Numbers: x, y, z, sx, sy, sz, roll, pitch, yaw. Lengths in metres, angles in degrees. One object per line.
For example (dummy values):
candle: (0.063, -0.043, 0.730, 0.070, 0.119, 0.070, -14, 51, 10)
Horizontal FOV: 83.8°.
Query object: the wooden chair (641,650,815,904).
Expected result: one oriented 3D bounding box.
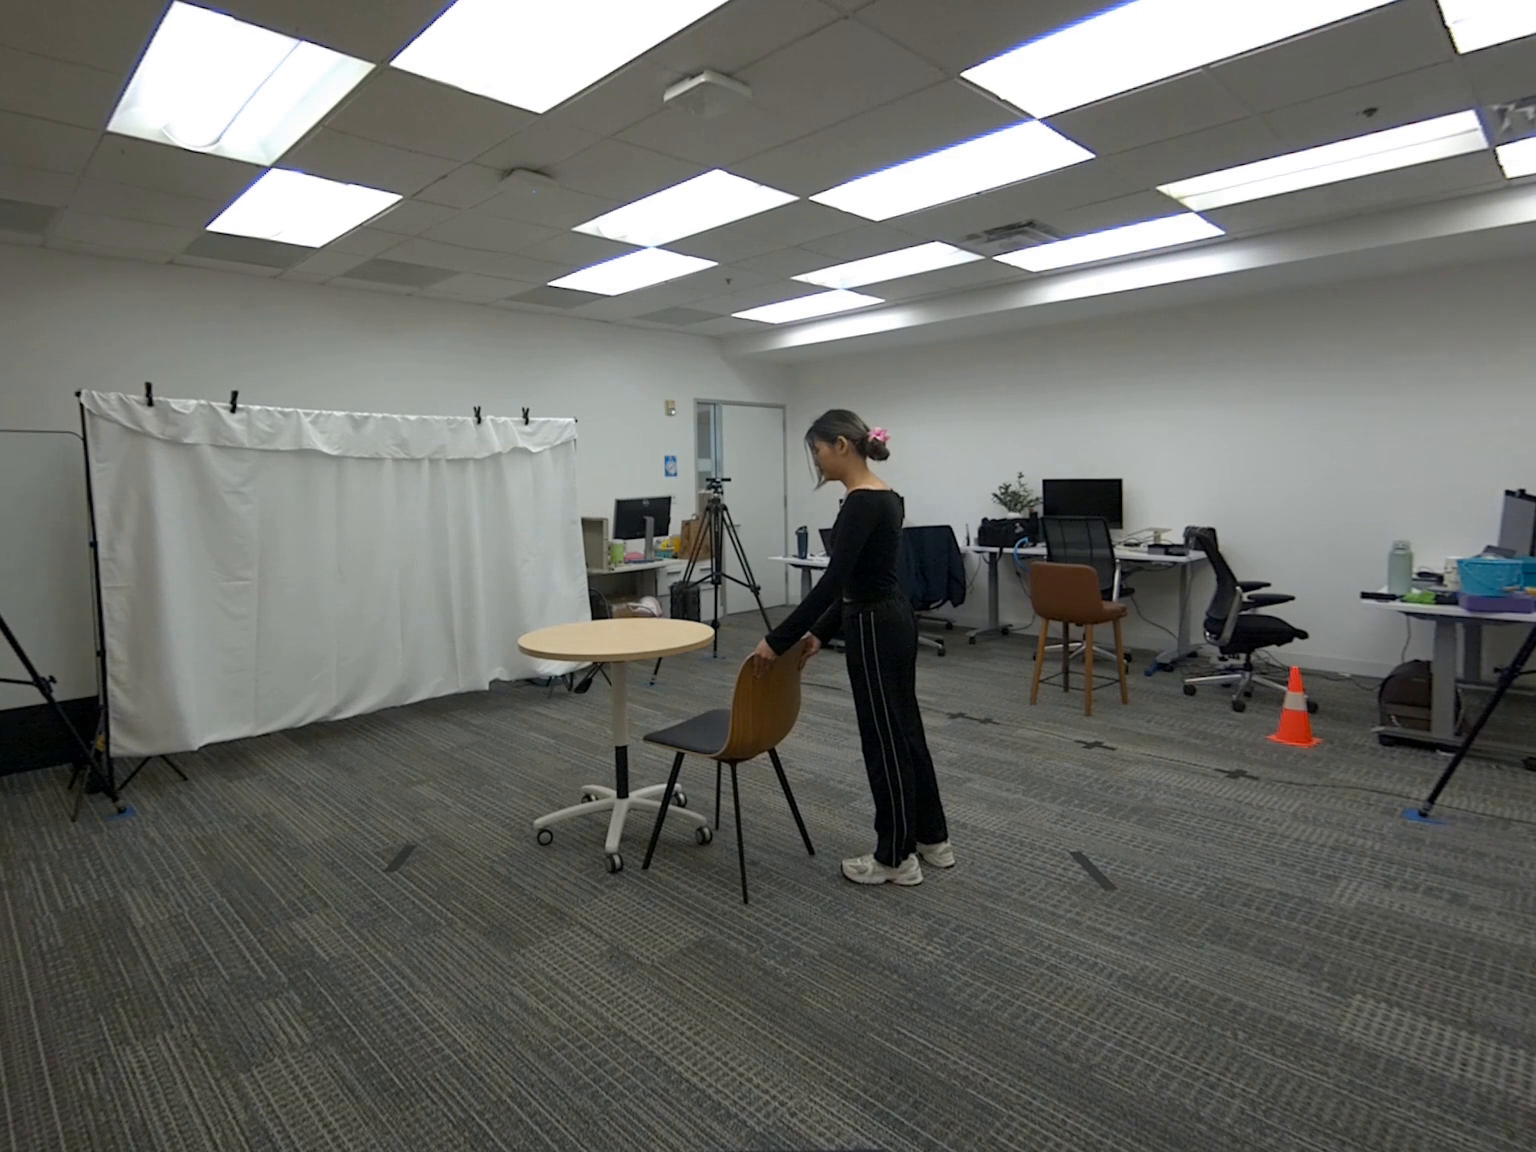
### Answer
wooden chair: (-0.149, 0.616, 3.082, 0.539, 0.872, 0.466, 7, 8, 34)
